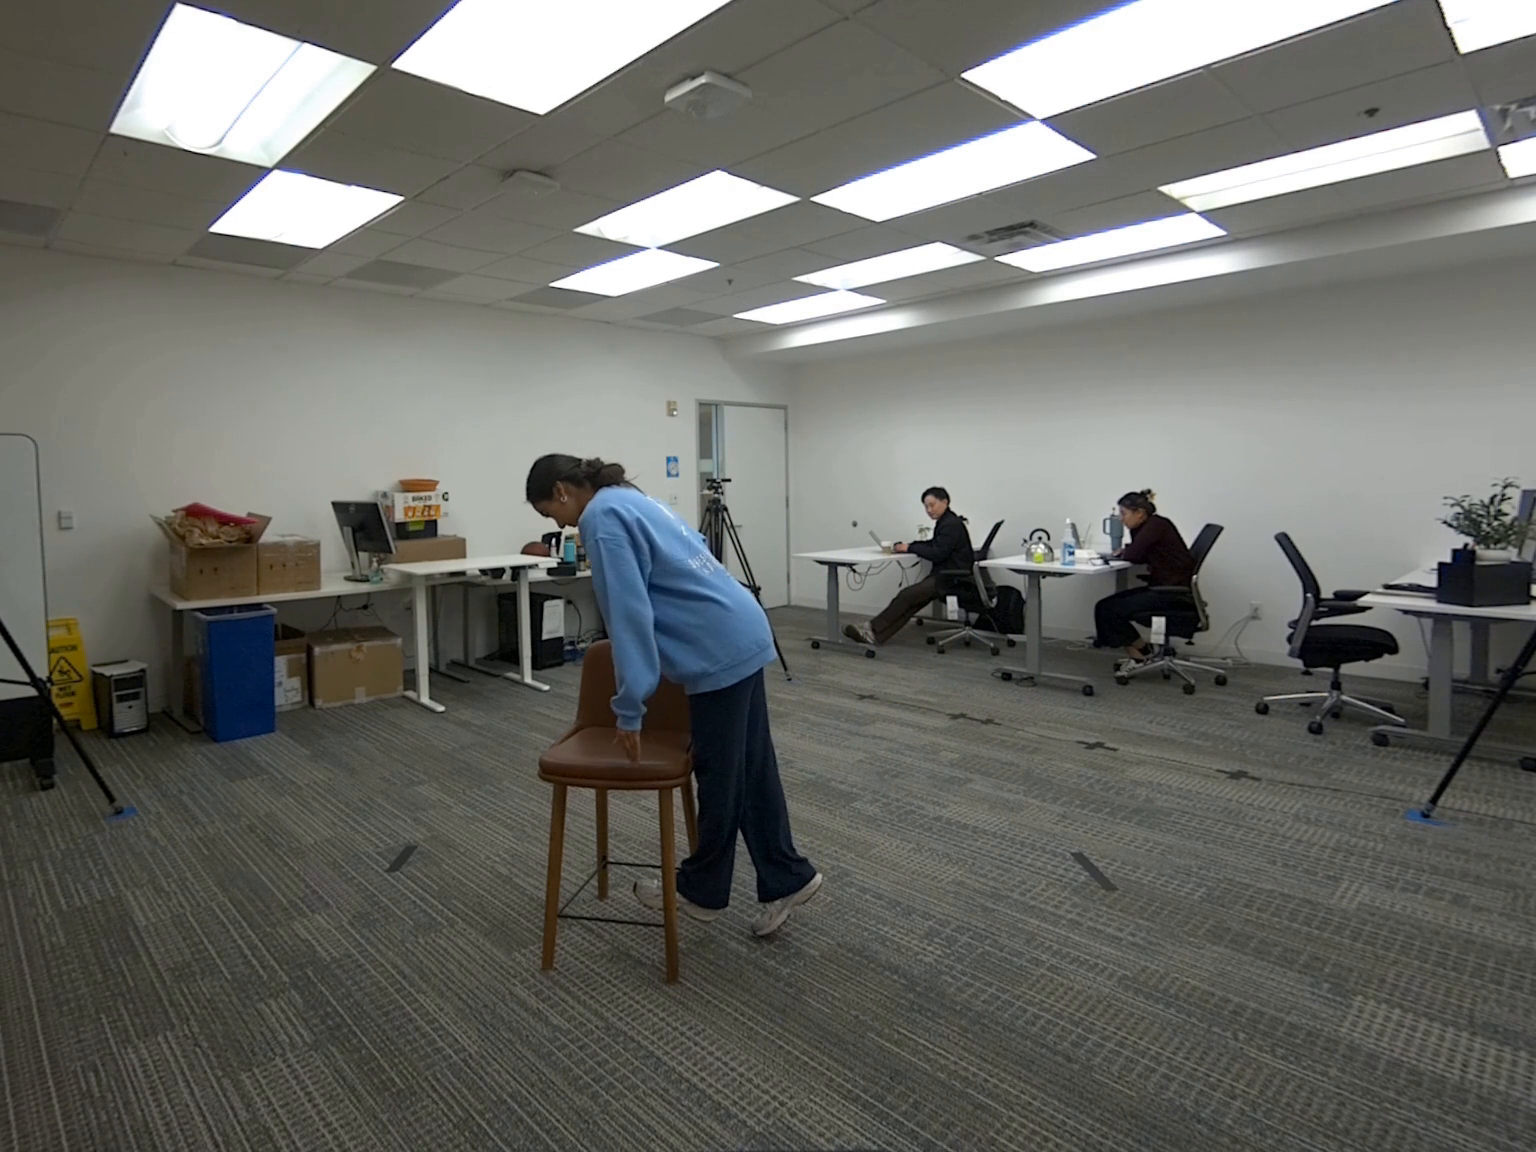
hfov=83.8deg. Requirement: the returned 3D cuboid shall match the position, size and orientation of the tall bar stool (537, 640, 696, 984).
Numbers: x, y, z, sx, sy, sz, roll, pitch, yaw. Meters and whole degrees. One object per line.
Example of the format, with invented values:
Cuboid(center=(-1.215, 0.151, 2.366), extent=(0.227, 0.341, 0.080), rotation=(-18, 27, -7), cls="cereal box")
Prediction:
Cuboid(center=(-0.422, 0.673, 2.604), extent=(0.462, 0.888, 0.463), rotation=(0, 3, 11), cls="tall bar stool")
